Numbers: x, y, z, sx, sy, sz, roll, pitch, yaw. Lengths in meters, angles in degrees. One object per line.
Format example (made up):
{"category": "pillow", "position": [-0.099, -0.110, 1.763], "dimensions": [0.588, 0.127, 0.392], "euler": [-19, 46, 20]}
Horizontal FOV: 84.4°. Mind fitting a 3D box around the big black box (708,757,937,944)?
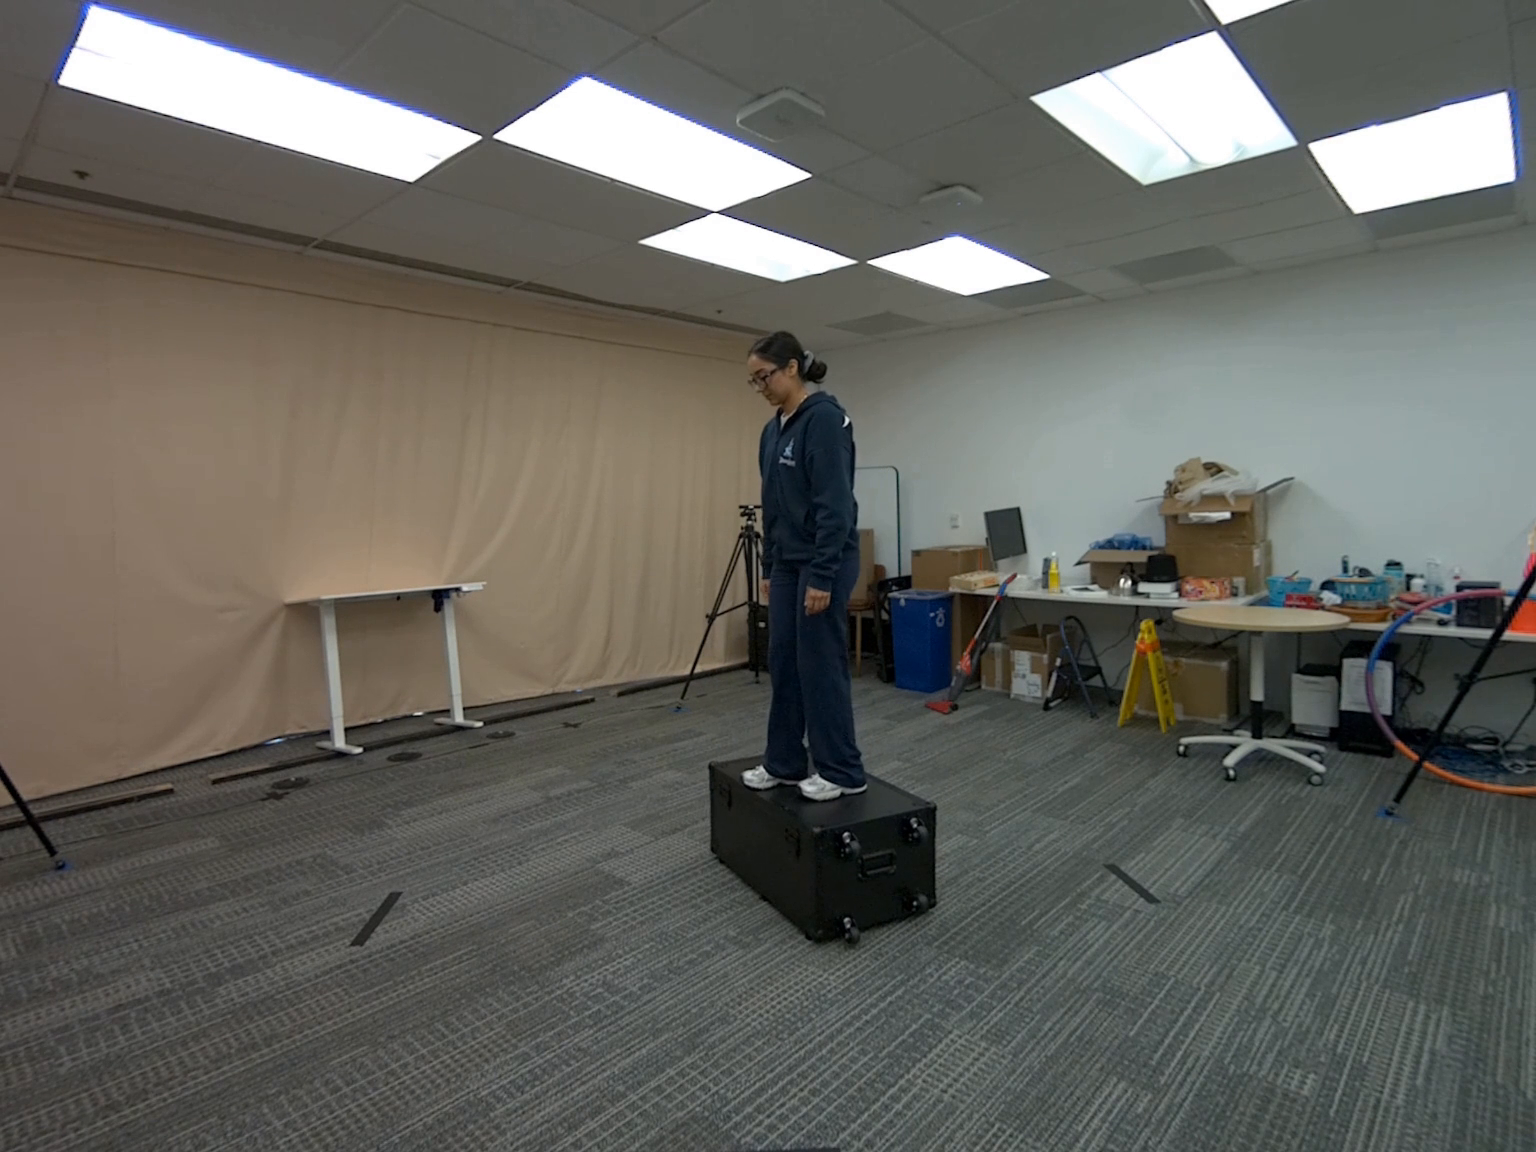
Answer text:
{"category": "big black box", "position": [0.195, 0.950, 3.059], "dimensions": [0.386, 0.520, 0.887], "euler": [-4, 6, -30]}
